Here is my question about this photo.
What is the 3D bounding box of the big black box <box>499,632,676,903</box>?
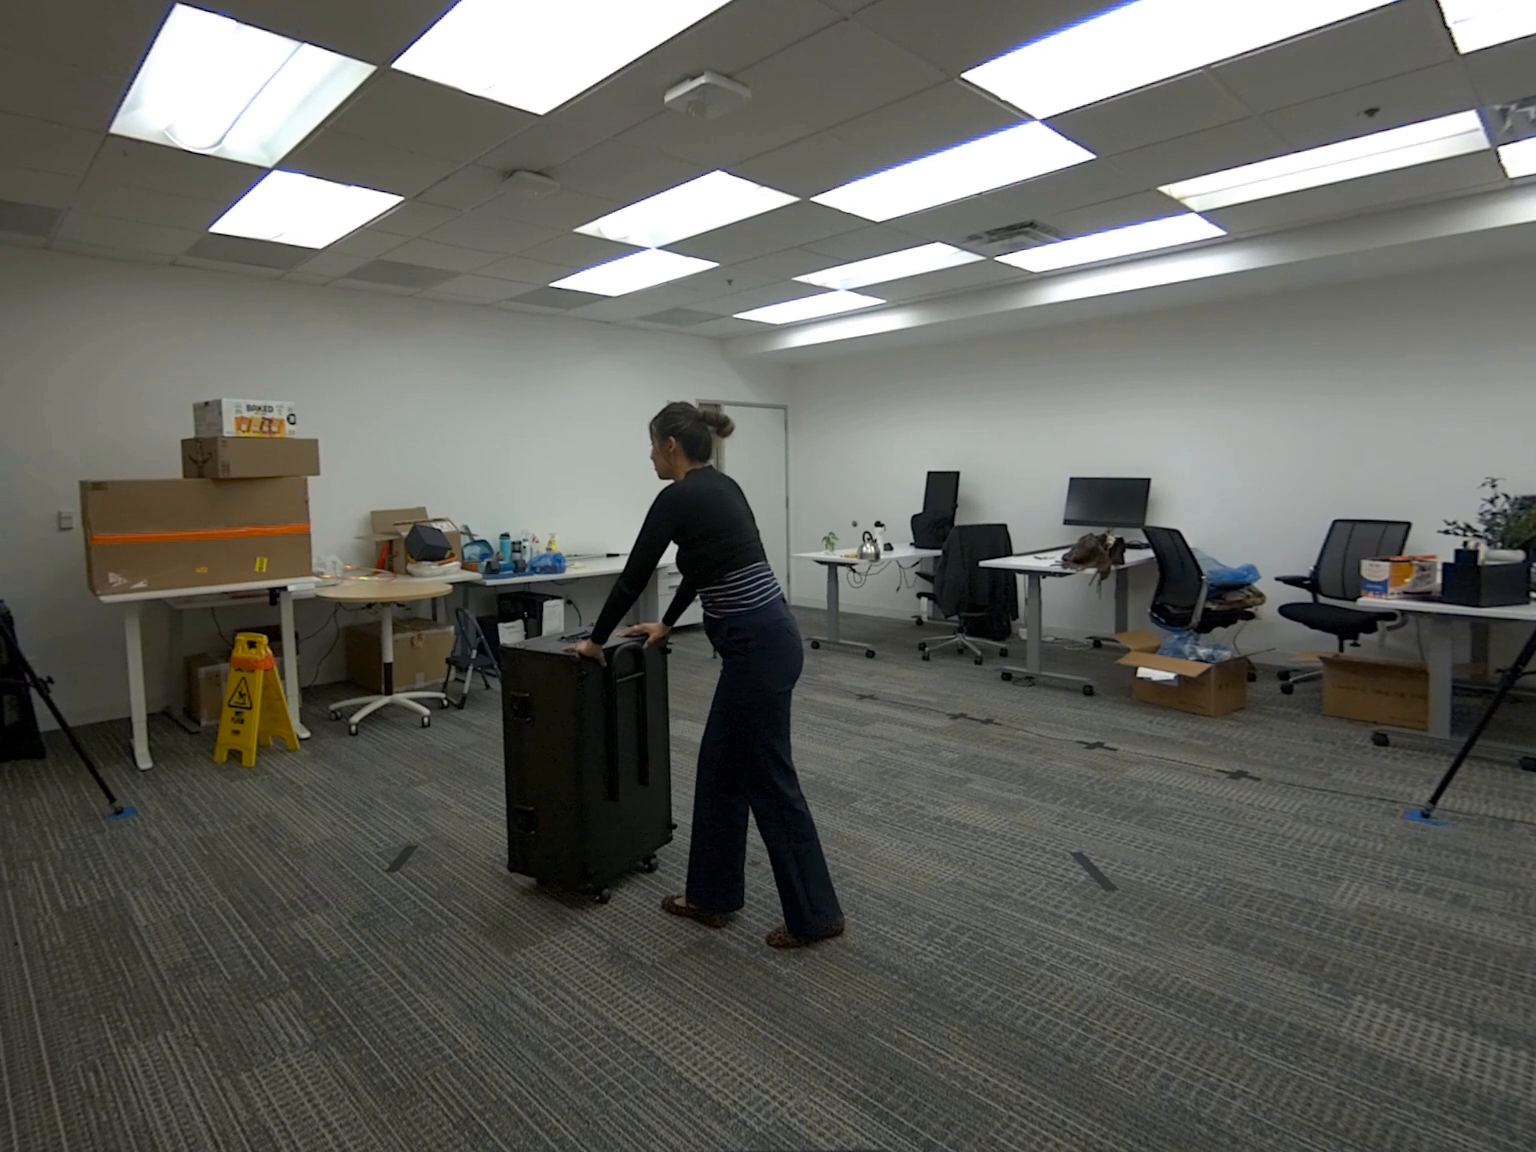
[{"bbox_3d":[-0.617,0.639,3.017,0.407,0.858,0.509,2,5,31],"label":"big black box"}]
